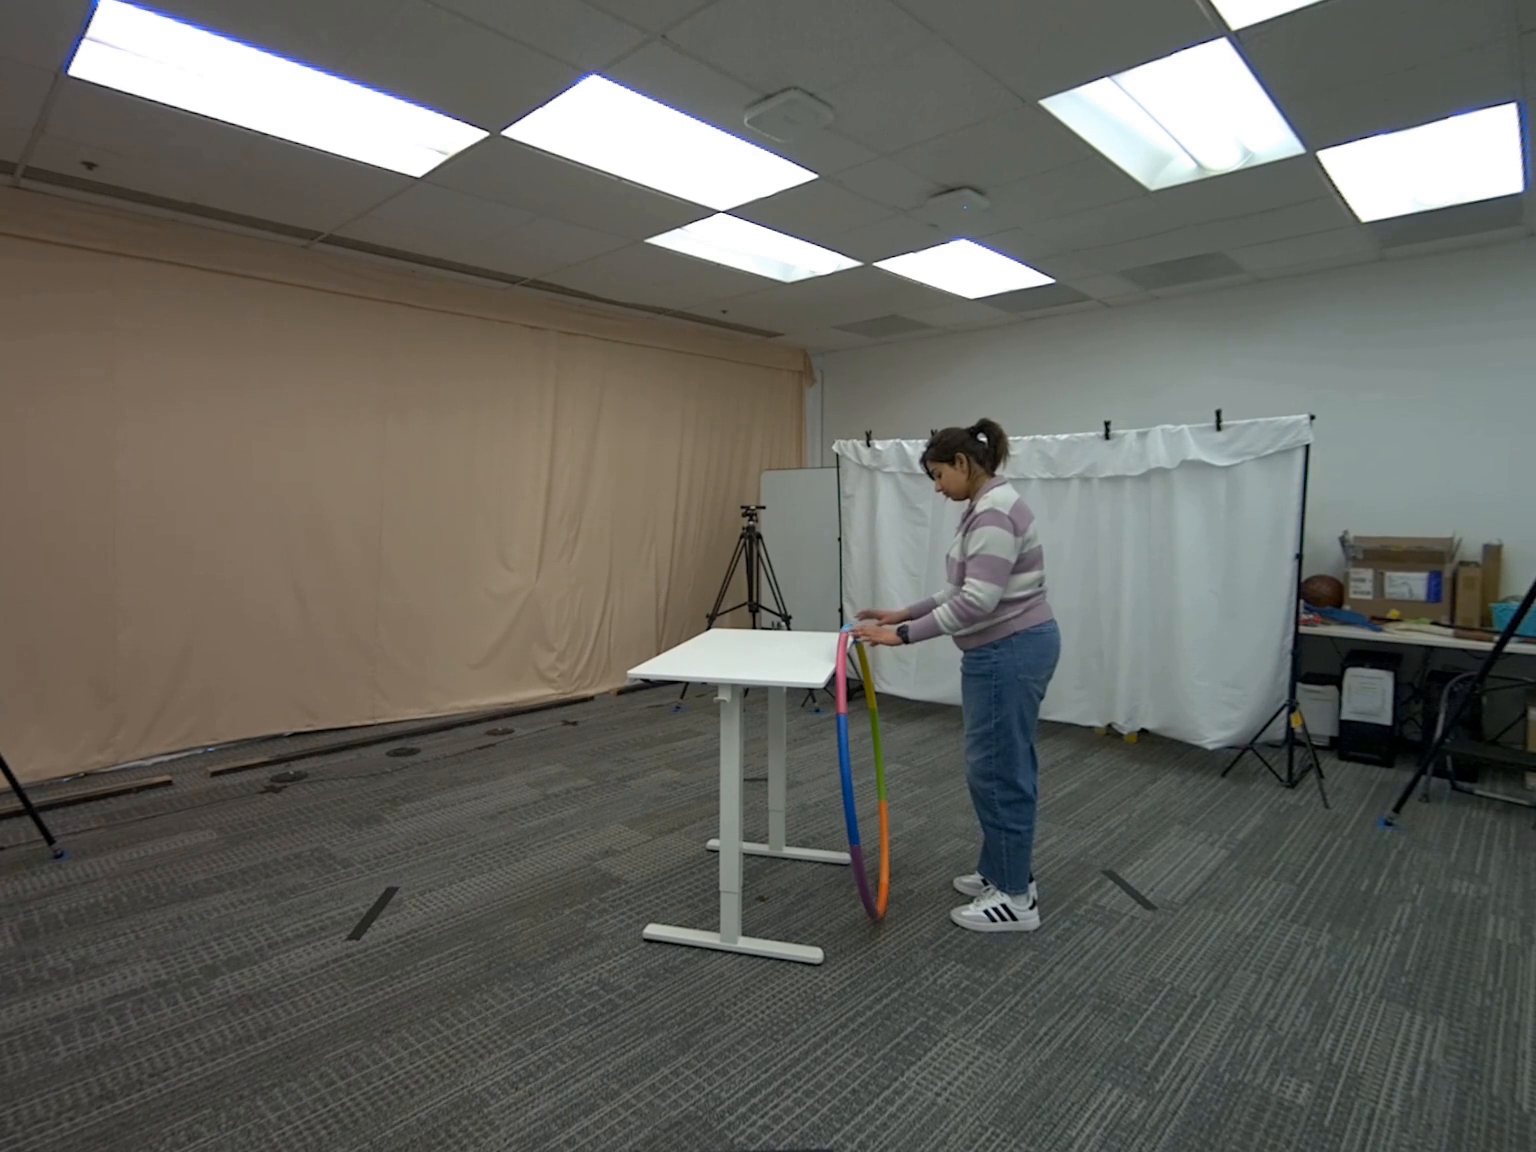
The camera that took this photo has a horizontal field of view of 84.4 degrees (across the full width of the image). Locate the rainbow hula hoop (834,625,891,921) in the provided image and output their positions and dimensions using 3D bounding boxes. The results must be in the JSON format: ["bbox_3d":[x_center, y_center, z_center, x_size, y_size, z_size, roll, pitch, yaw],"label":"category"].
[{"bbox_3d":[0.345,0.667,2.921,0.036,0.978,0.967,-9,2,12],"label":"rainbow hula hoop"}]
